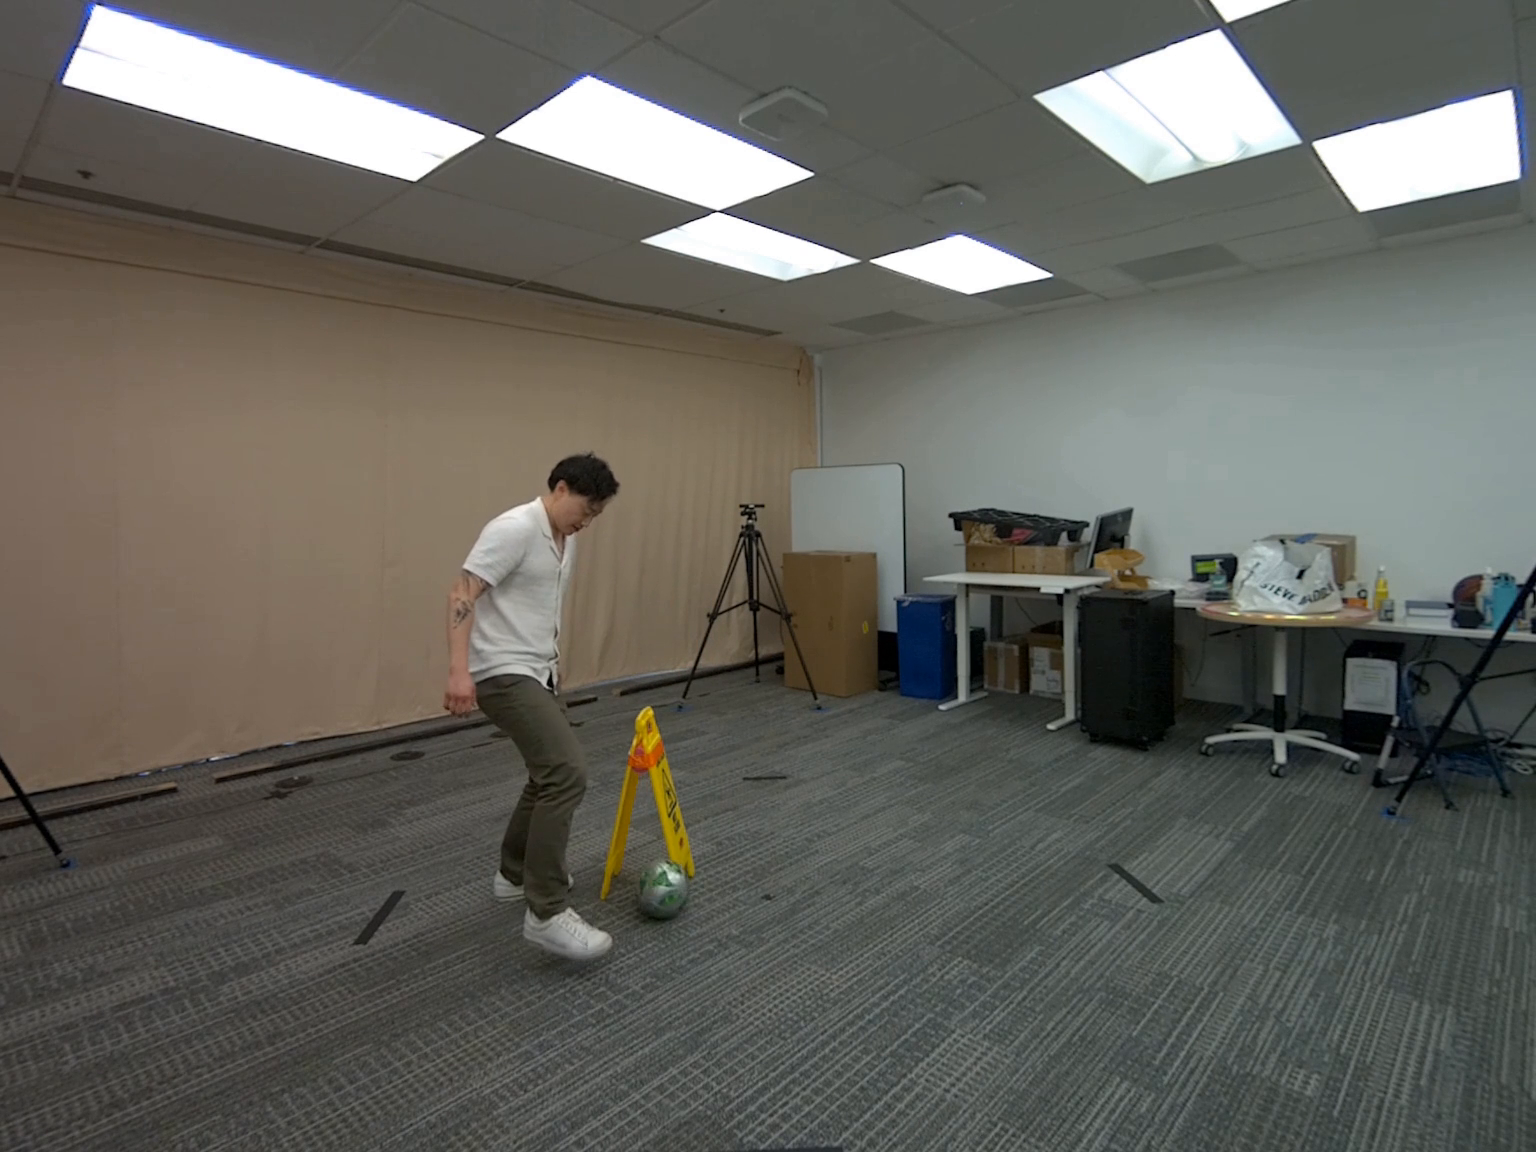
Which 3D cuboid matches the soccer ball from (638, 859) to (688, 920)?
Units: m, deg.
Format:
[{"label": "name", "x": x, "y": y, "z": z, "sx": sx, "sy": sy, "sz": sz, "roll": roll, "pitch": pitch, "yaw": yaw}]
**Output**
[{"label": "soccer ball", "x": -0.364, "y": 1.066, "z": 2.850, "sx": 0.187, "sy": 0.187, "sz": 0.188, "roll": -1, "pitch": 4, "yaw": -2}]
